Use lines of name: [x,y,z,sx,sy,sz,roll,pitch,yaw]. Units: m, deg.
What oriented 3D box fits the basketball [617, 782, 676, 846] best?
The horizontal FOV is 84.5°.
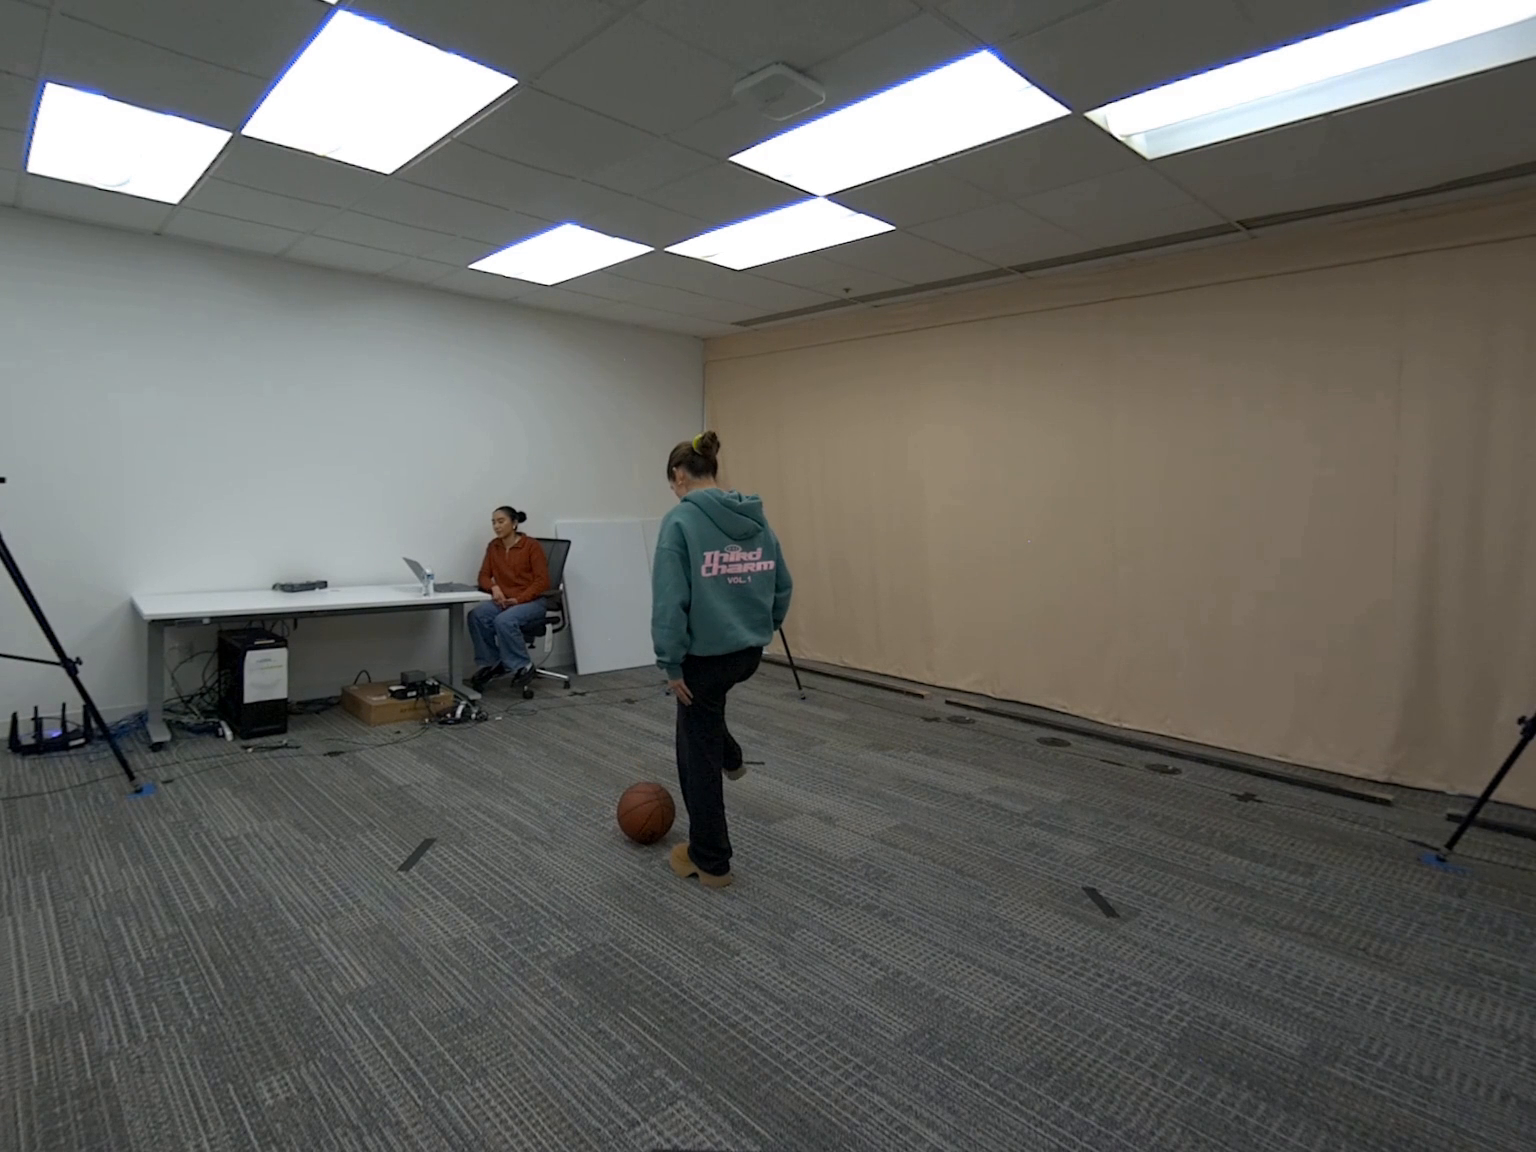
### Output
basketball: [-0.496,0.946,3.383,0.236,0.235,0.237,1,4,-1]
